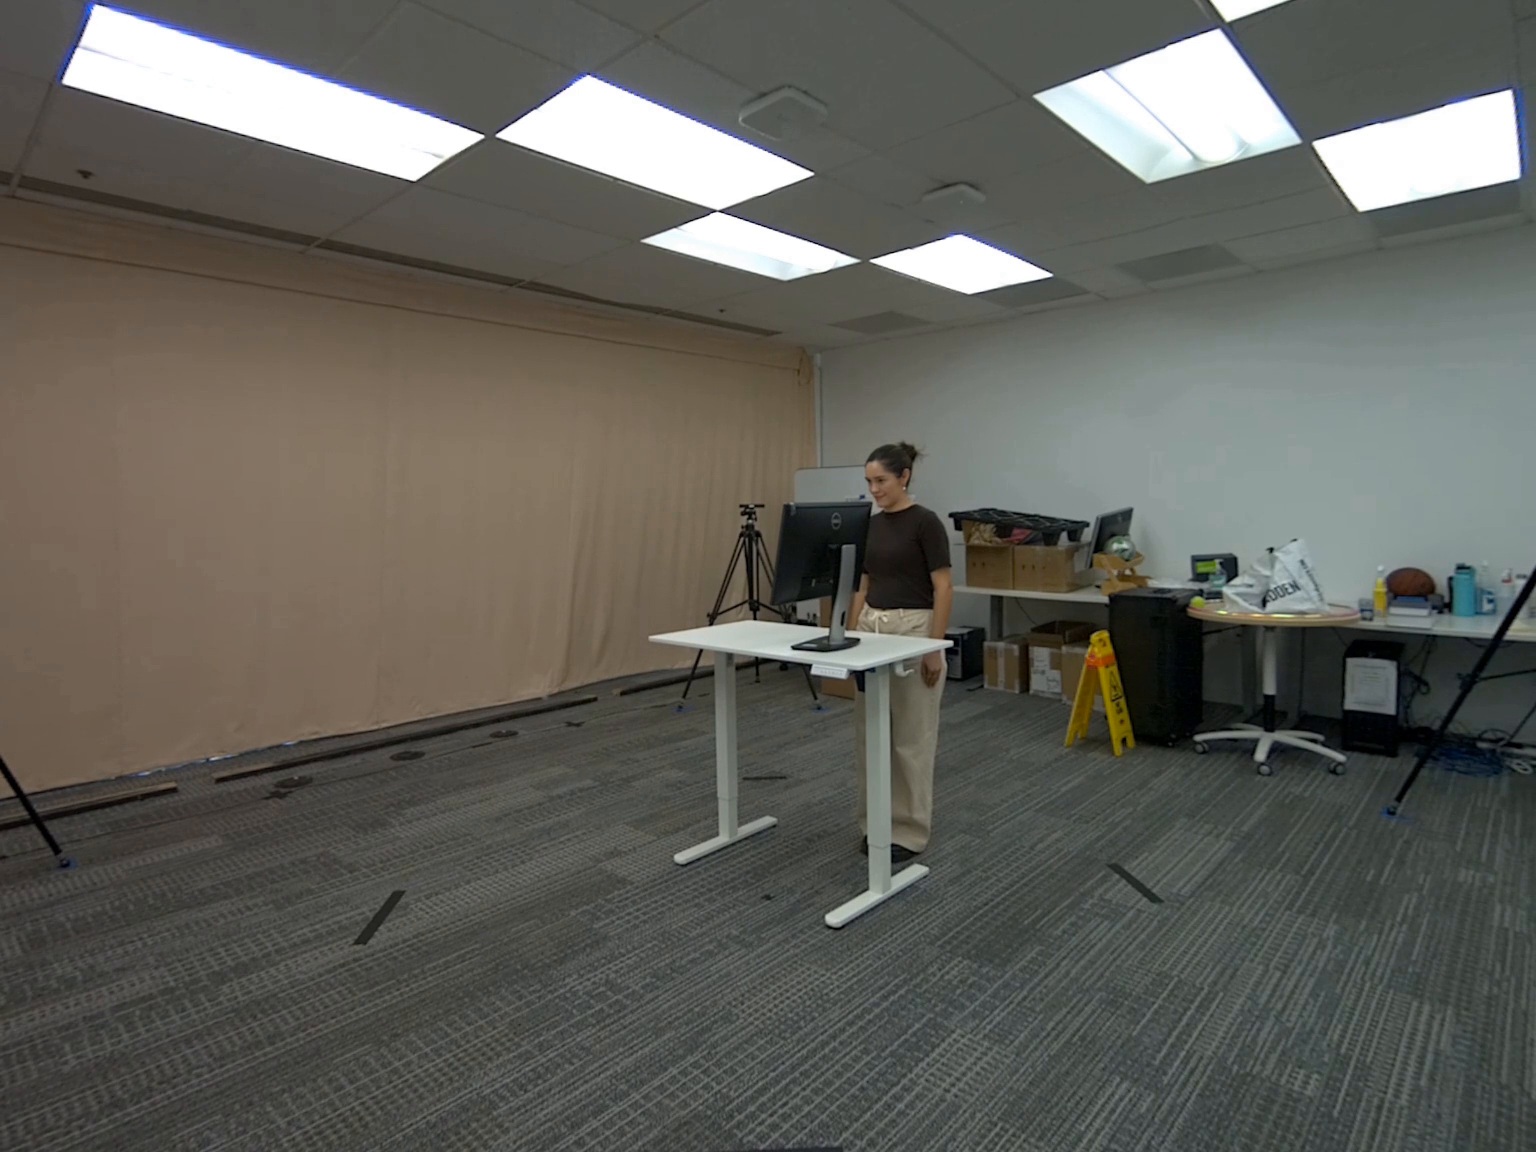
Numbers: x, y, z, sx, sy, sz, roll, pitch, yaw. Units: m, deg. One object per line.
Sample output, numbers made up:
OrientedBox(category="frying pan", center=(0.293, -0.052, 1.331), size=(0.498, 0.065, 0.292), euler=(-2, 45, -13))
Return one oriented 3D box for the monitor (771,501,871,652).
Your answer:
OrientedBox(category="monitor", center=(0.224, -0.001, 2.994), size=(0.193, 0.521, 0.523), euler=(1, 4, 40))
